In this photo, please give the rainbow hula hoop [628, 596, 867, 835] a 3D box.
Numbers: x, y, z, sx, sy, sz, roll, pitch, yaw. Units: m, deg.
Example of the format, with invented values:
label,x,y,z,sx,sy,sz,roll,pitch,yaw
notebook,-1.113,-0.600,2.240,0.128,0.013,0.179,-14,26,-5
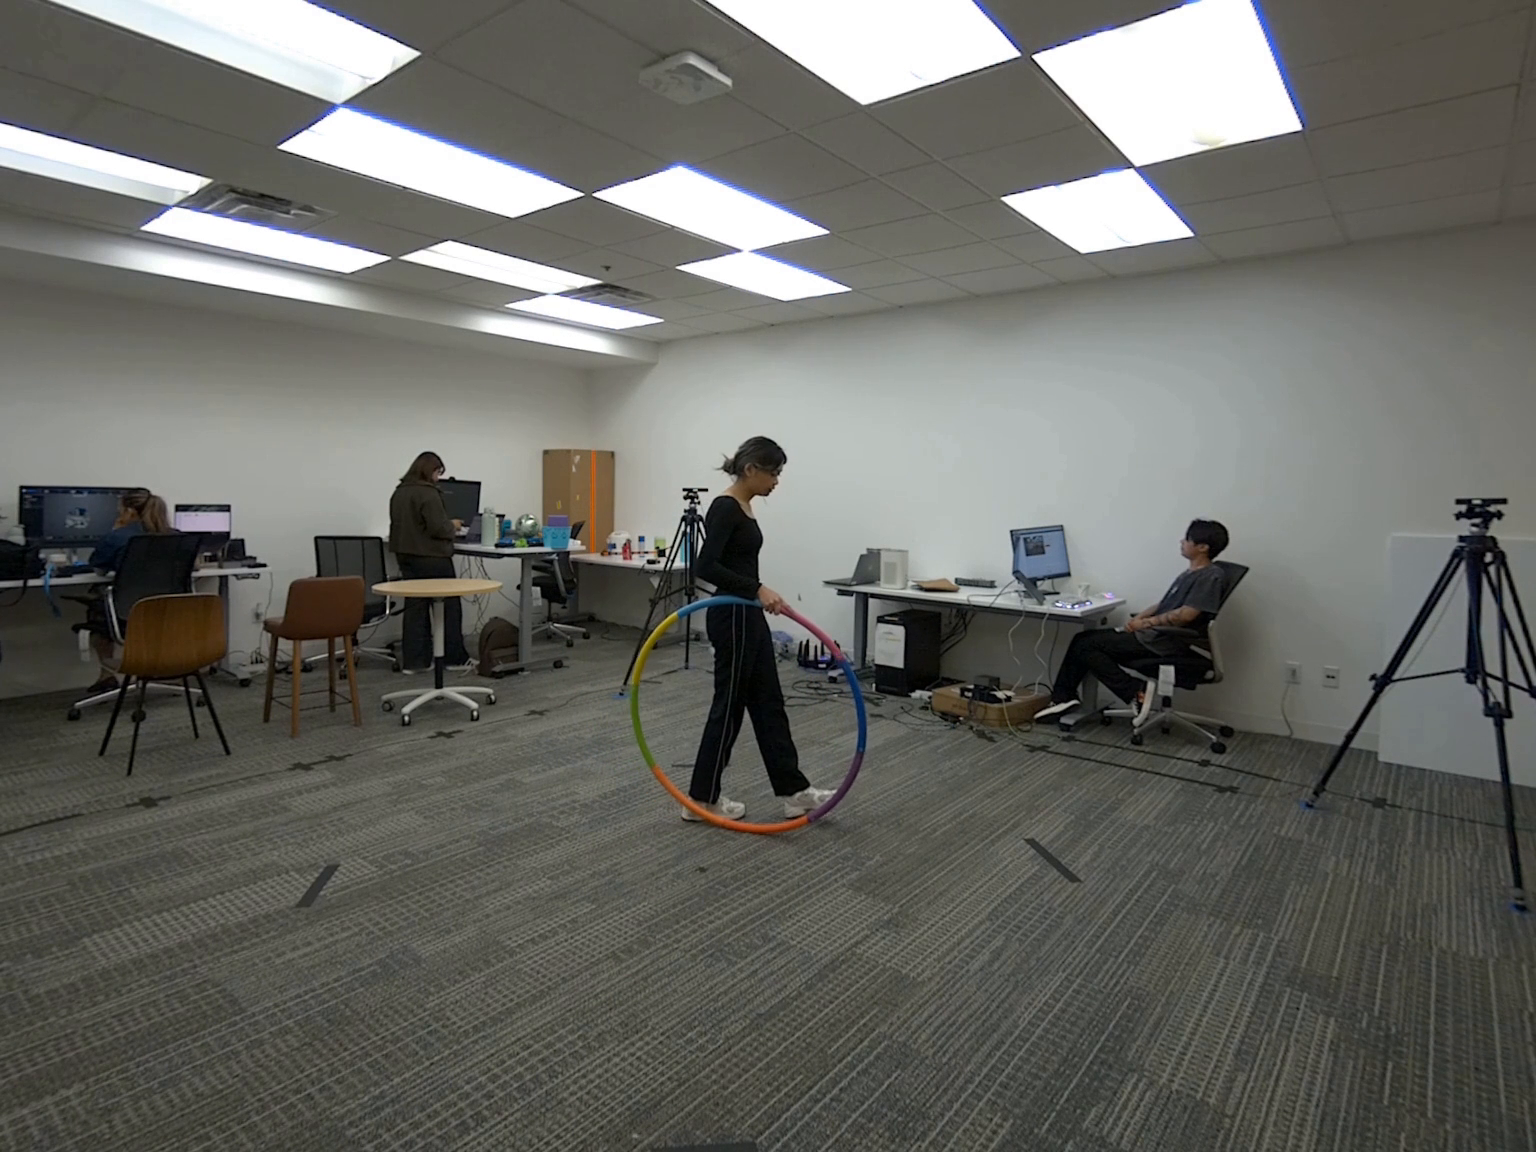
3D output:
label,x,y,z,sx,sy,sz,roll,pitch,yaw
rainbow hula hoop,-0.110,0.557,3.389,0.998,0.969,0.035,2,10,19
